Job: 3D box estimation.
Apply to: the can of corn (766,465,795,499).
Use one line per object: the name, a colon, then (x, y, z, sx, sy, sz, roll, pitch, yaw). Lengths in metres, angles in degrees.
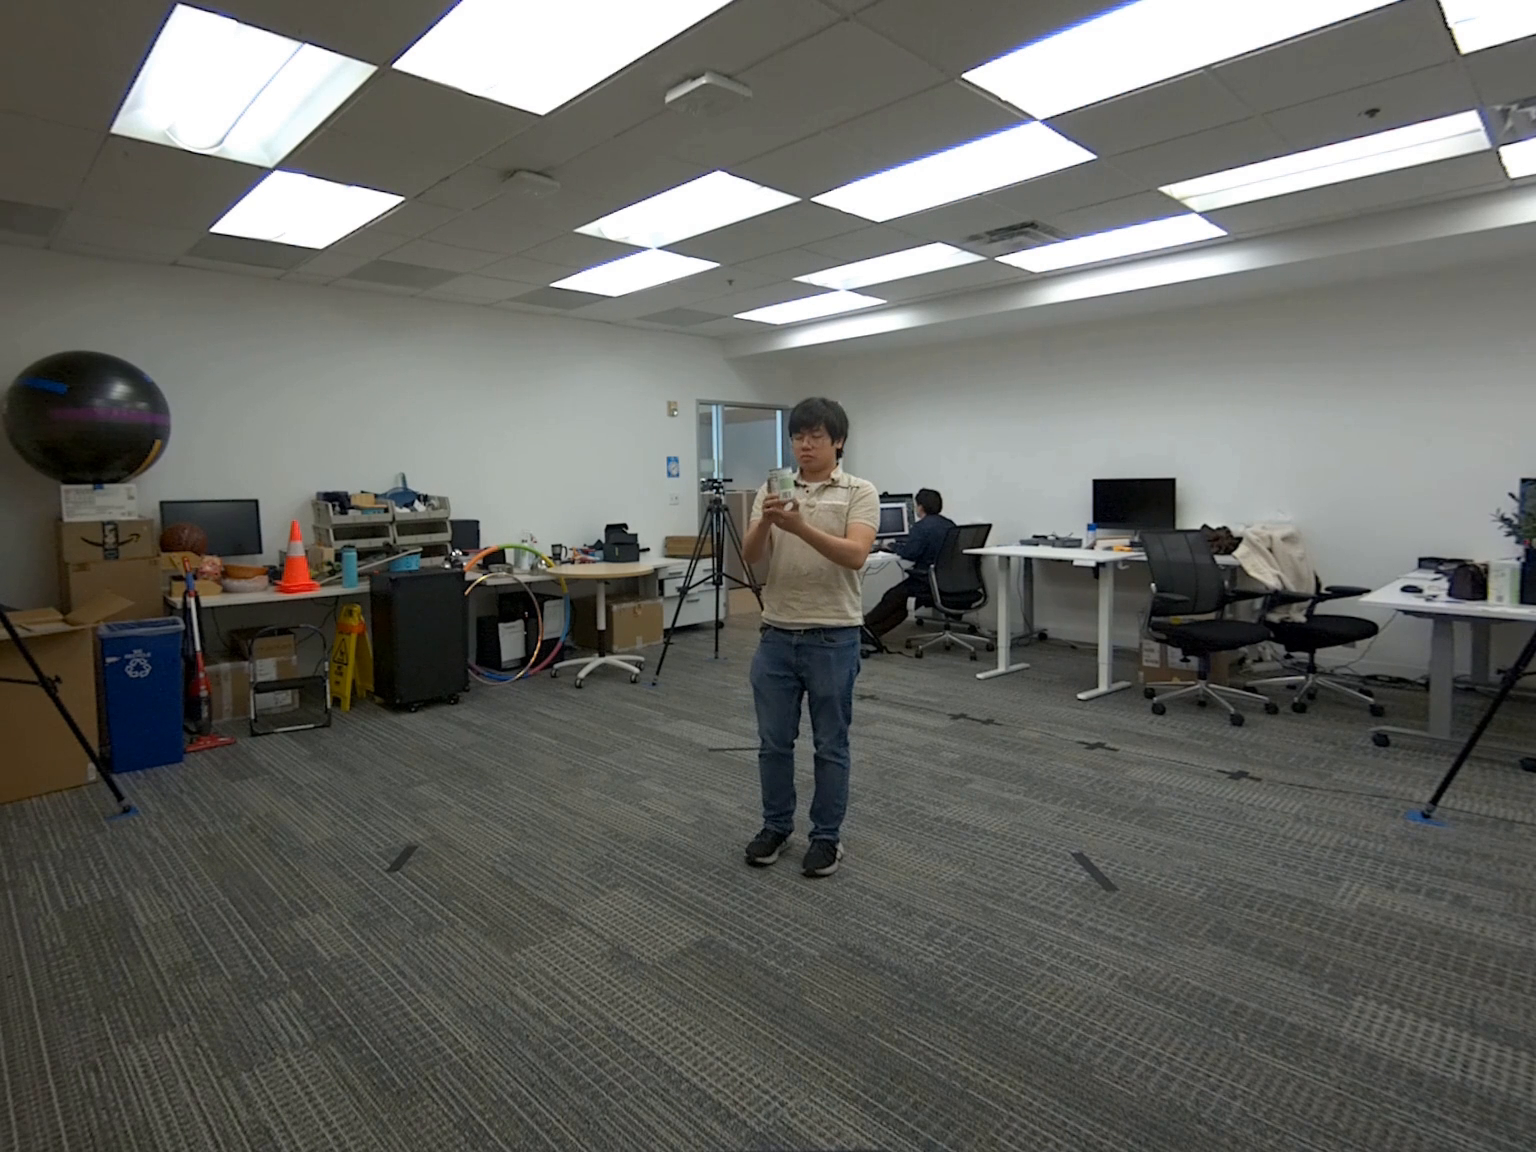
can of corn: (0.041, -0.296, 2.762, 0.074, 0.111, 0.074, -10, 3, -1)
